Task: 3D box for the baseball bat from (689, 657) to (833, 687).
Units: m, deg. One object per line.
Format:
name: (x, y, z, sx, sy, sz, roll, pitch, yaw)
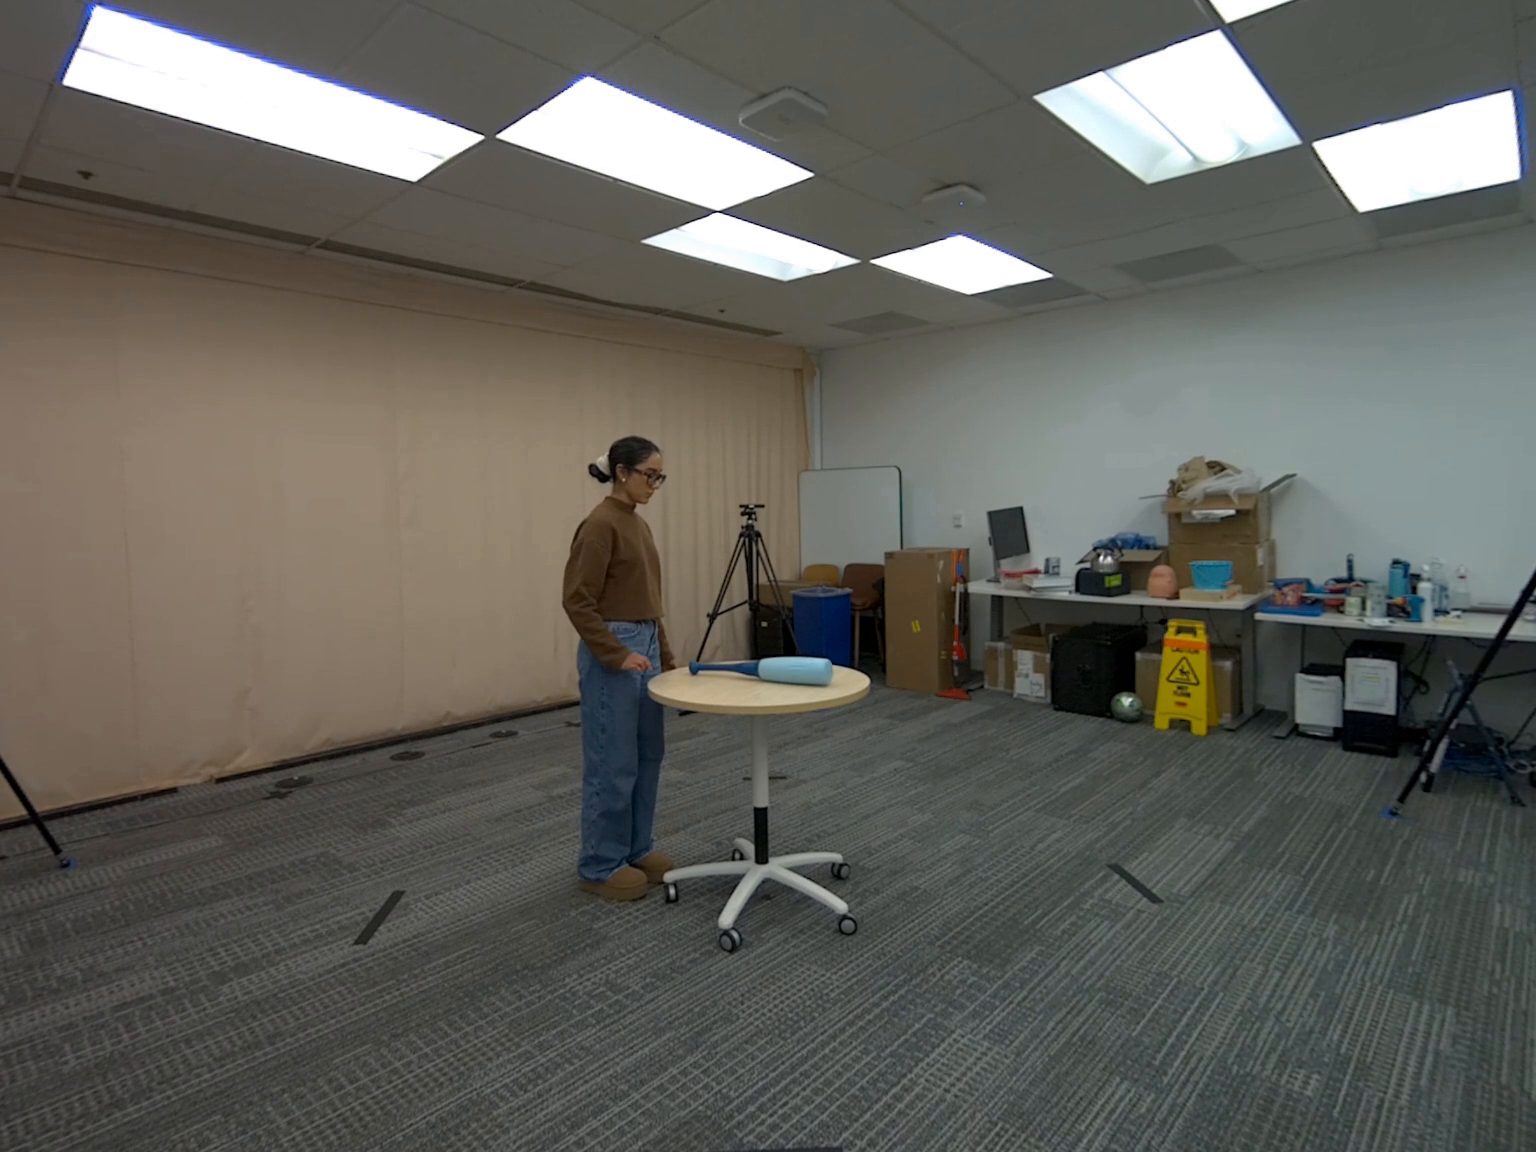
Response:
baseball bat: (-0.034, 0.330, 2.919, 0.557, 0.089, 0.087, -3, 2, 28)
